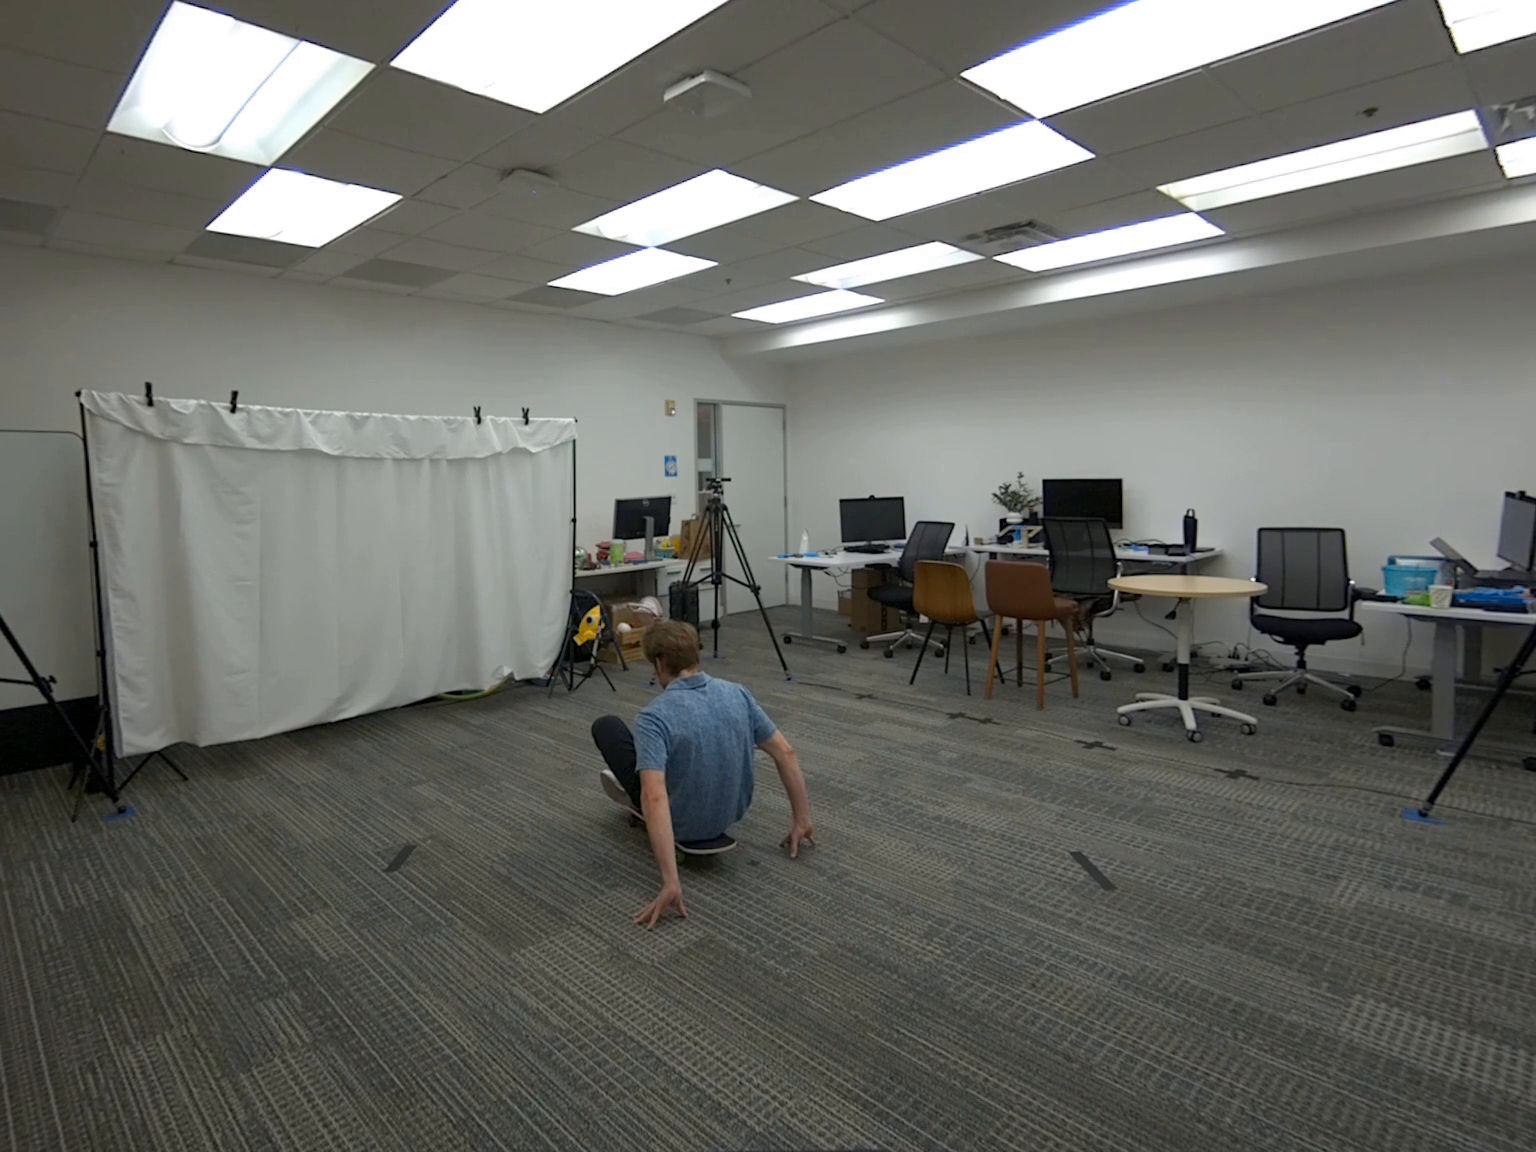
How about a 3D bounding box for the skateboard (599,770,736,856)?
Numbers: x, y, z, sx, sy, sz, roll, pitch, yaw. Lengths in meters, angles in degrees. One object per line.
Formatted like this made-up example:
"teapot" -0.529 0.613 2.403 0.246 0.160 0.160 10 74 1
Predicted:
"skateboard" -0.388 0.973 3.320 0.189 0.110 0.809 -6 9 -35
